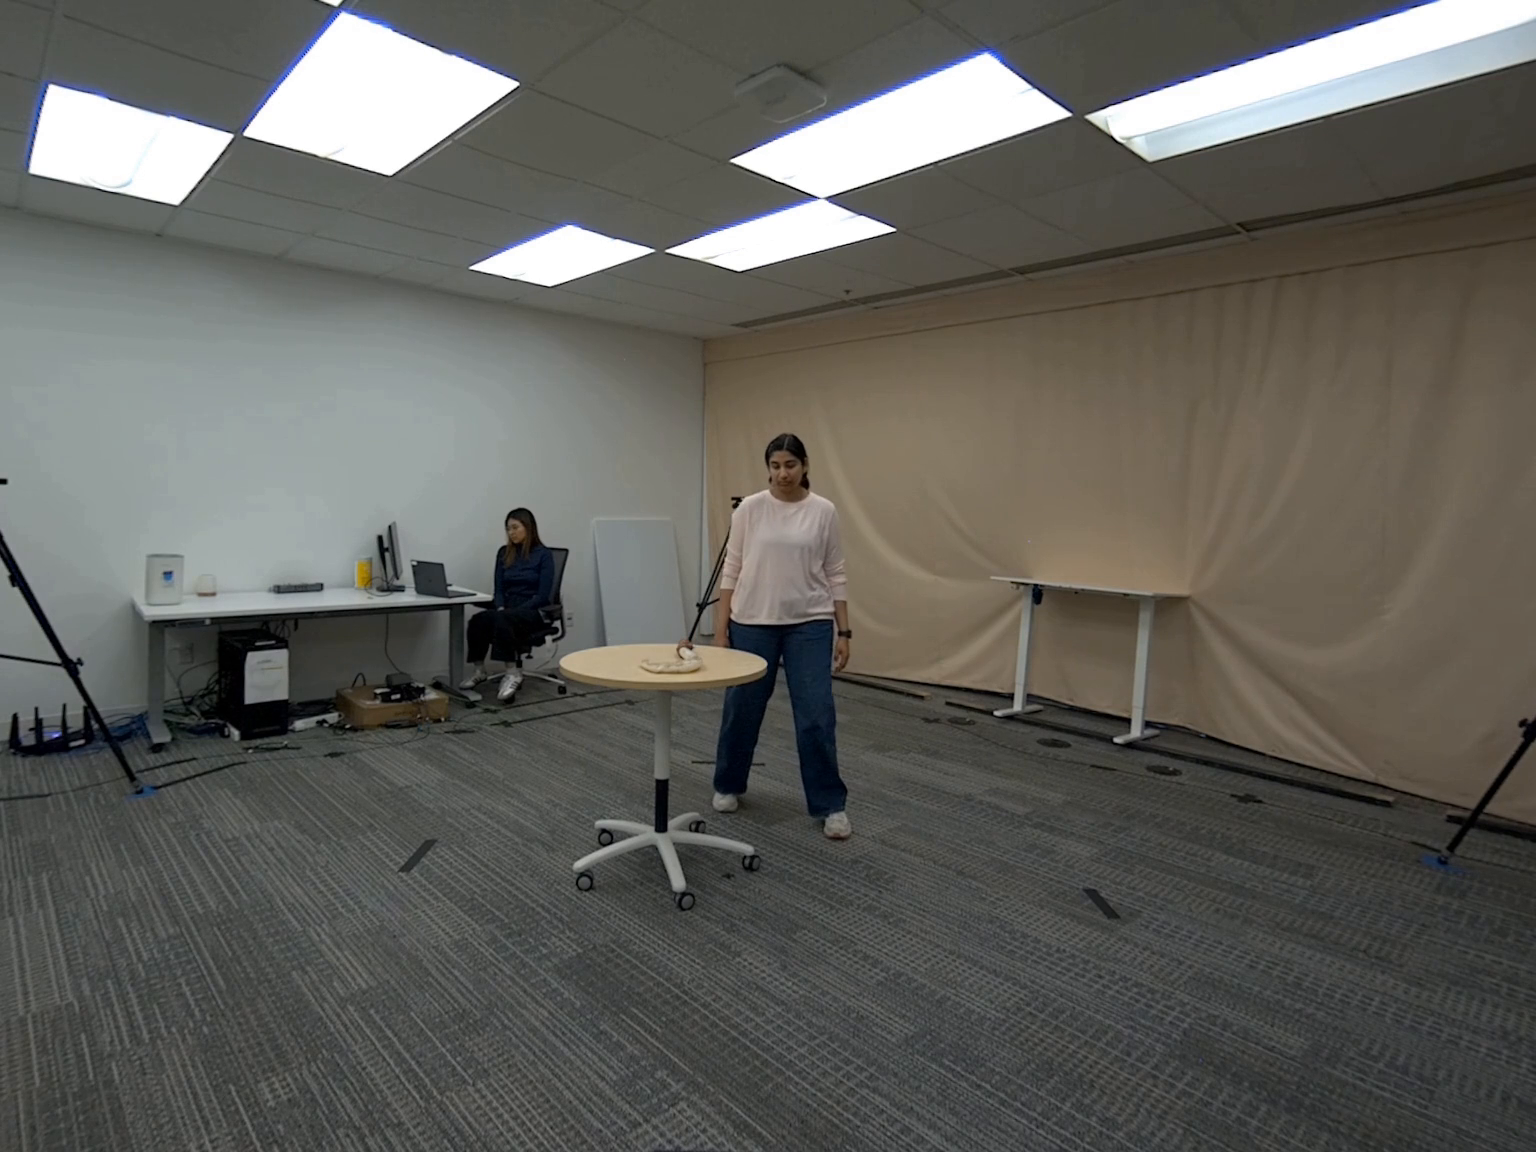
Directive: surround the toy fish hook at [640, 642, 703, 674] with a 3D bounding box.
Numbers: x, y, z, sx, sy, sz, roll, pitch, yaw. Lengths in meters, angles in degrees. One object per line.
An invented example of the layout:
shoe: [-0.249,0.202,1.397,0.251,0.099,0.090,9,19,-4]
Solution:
toy fish hook: [-0.369,0.291,3.133,0.224,0.048,0.509,6,5,-4]
